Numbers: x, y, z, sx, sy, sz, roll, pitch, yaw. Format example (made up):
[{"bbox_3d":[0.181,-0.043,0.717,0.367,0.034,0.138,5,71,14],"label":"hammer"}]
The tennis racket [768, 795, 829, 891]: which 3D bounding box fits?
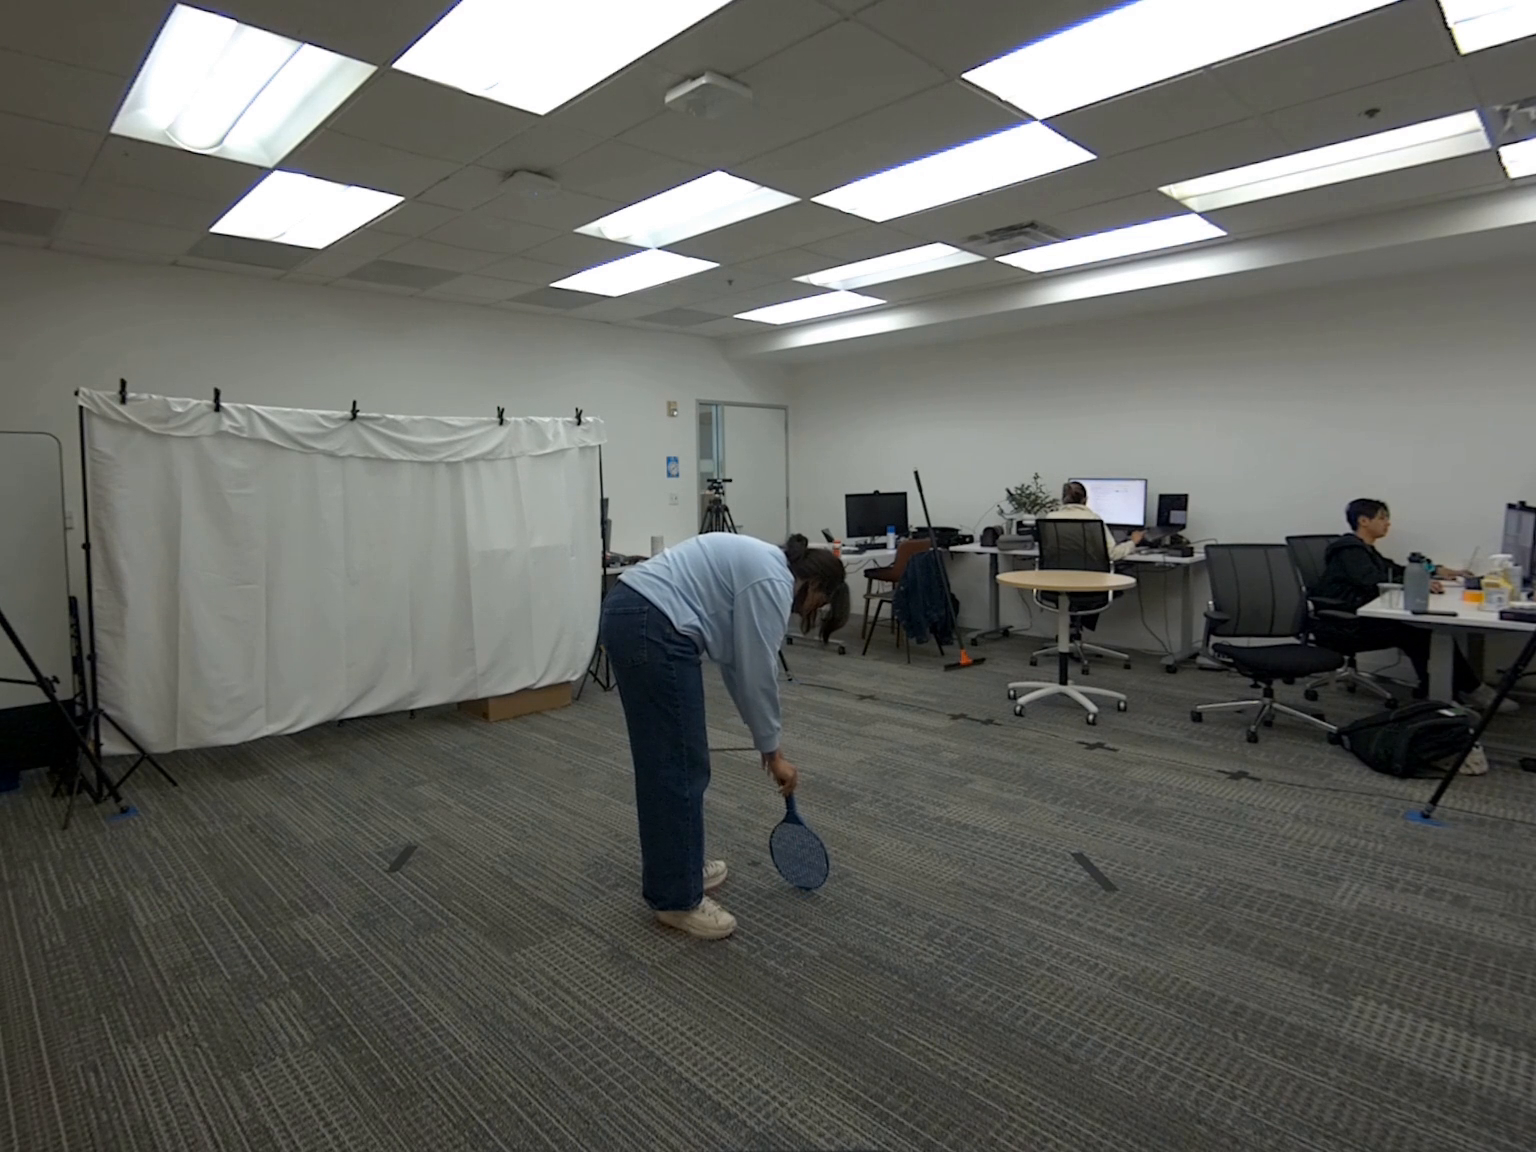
[{"bbox_3d":[0.087,0.861,2.857,0.219,0.427,0.031,-4,15,29],"label":"tennis racket"}]
